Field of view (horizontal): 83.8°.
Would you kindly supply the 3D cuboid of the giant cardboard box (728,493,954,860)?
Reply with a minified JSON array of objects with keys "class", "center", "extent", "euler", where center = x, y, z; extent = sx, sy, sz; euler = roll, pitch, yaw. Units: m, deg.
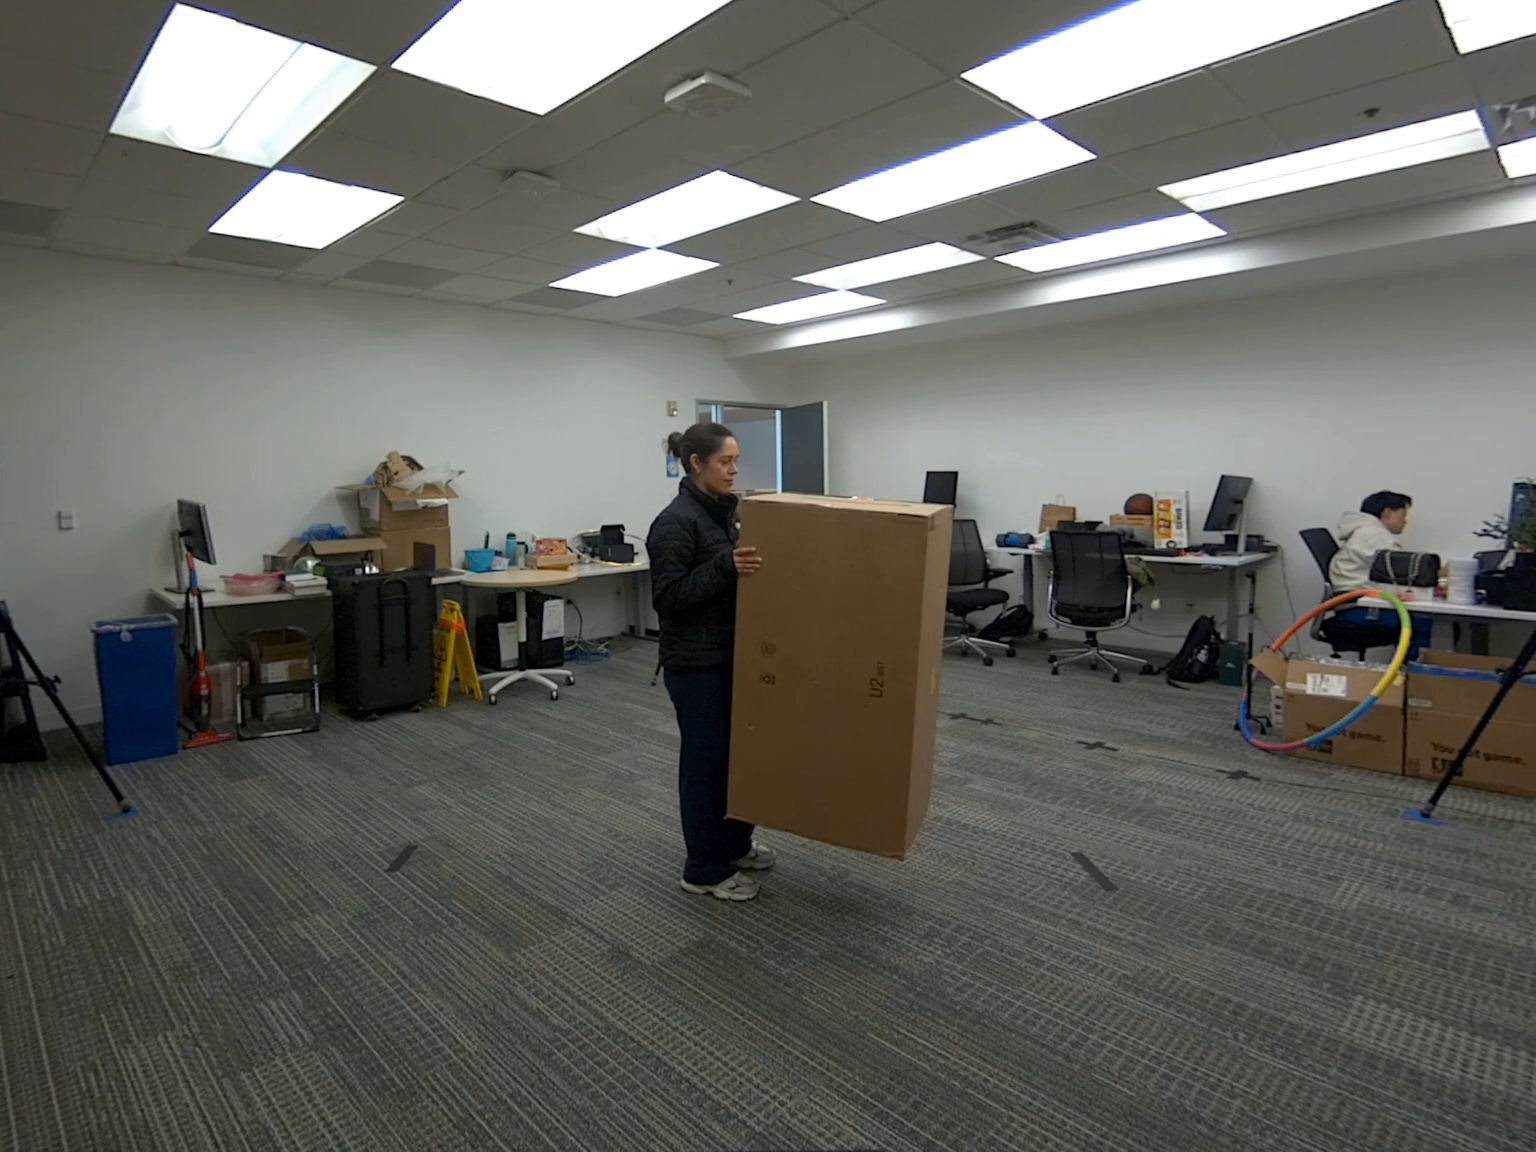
[{"class":"giant cardboard box","center":[0.237,0.275,2.752],"extent":[0.591,1.019,0.419],"euler":[6,8,23]}]
